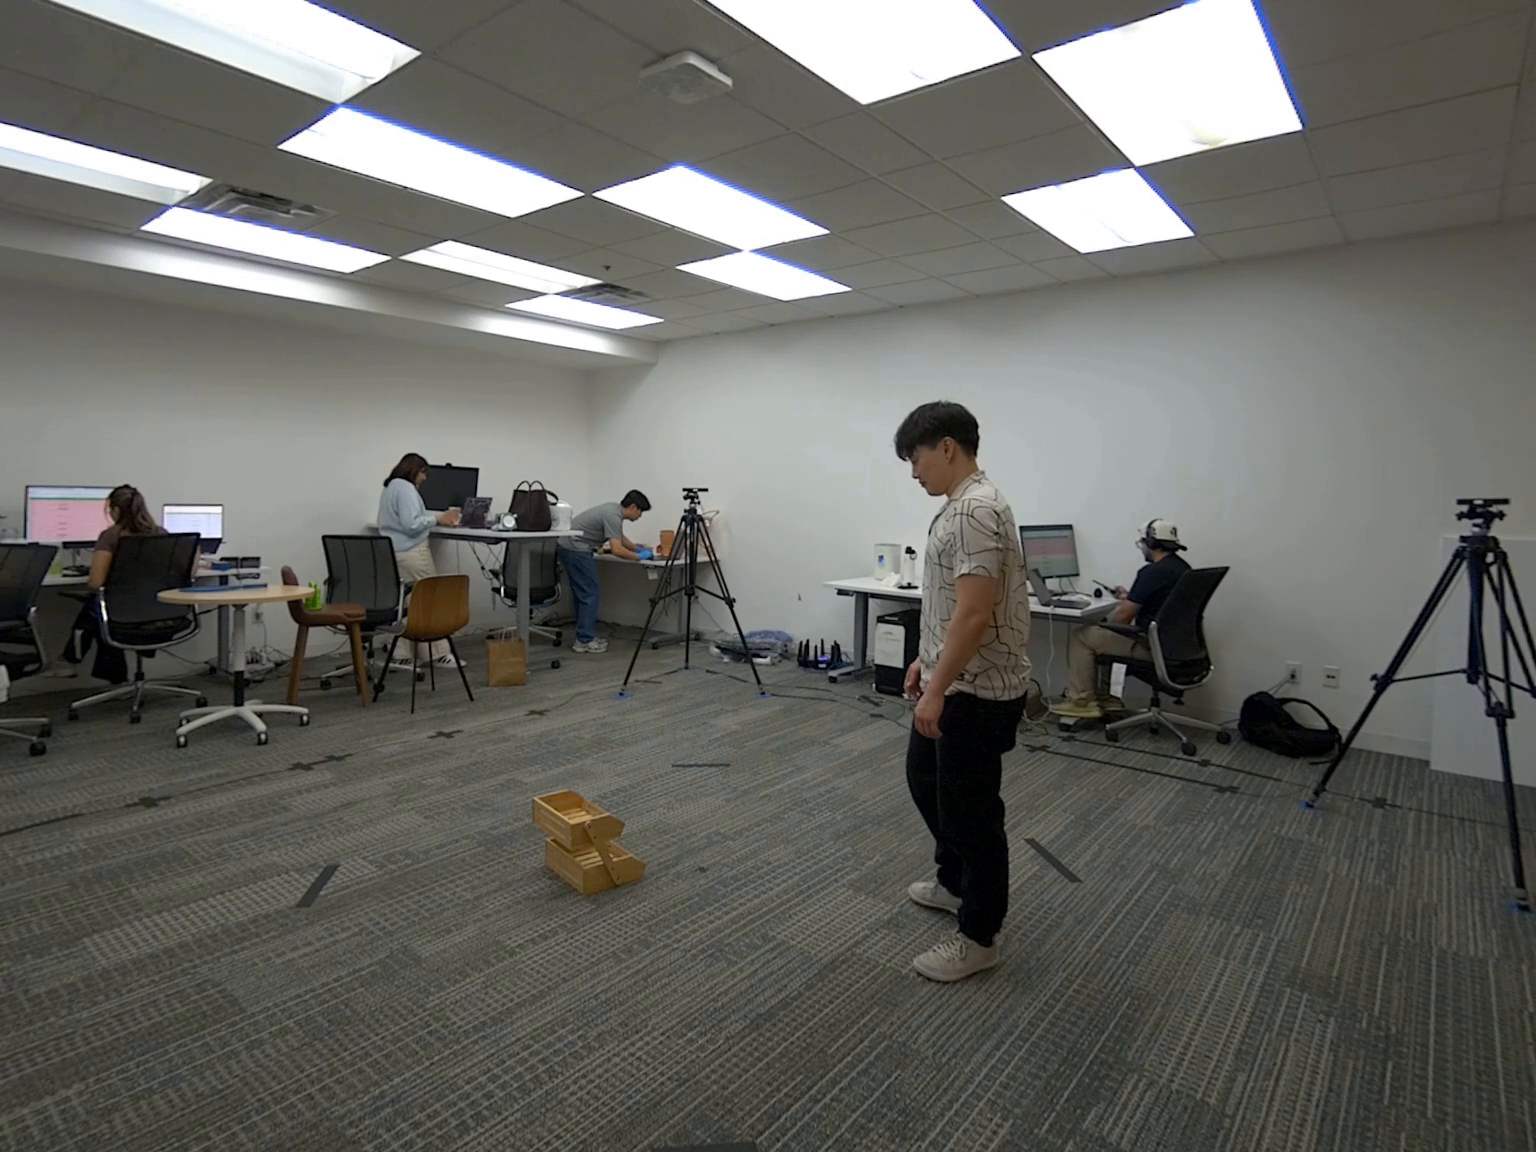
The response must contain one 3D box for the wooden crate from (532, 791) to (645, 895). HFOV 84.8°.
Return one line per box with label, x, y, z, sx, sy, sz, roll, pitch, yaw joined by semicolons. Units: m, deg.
wooden crate;-0.655;0.929;3.058;0.293;0.272;0.335;-3;6;-39
